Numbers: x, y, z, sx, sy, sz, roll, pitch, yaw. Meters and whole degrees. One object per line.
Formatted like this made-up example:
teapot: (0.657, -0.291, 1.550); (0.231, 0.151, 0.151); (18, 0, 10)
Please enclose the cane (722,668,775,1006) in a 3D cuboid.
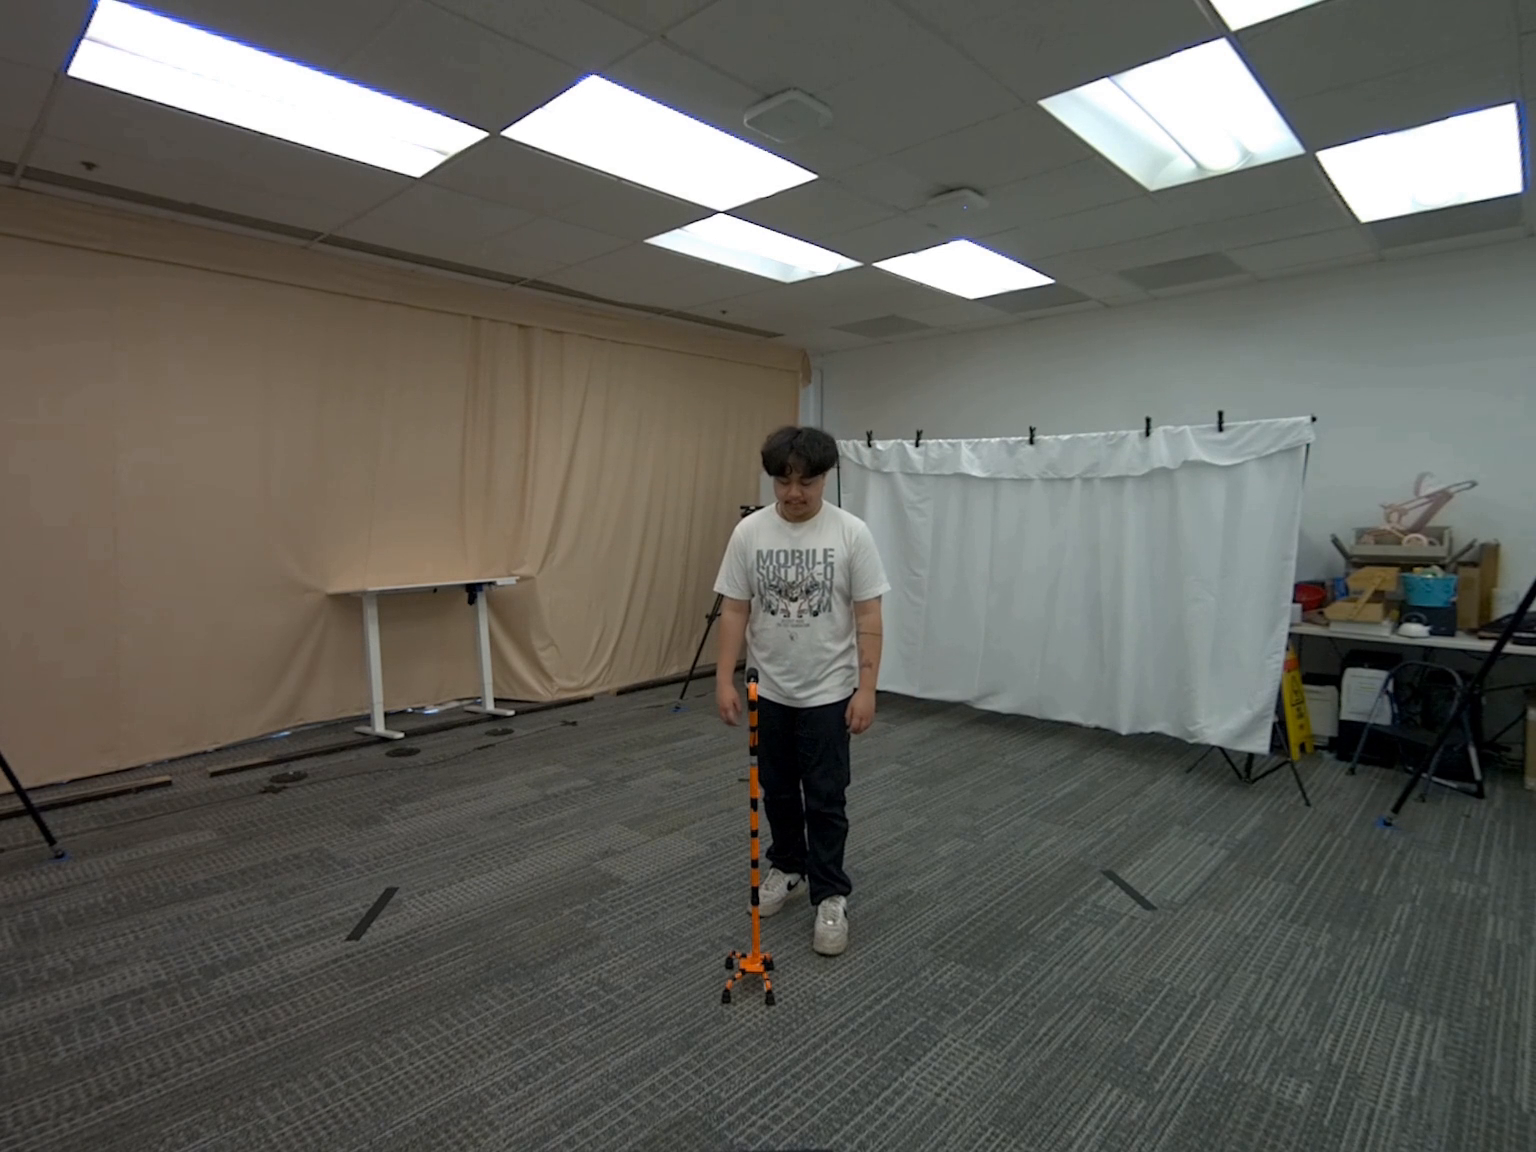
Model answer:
cane: (-0.052, 0.737, 2.429); (0.152, 0.906, 0.207); (0, 3, 0)
